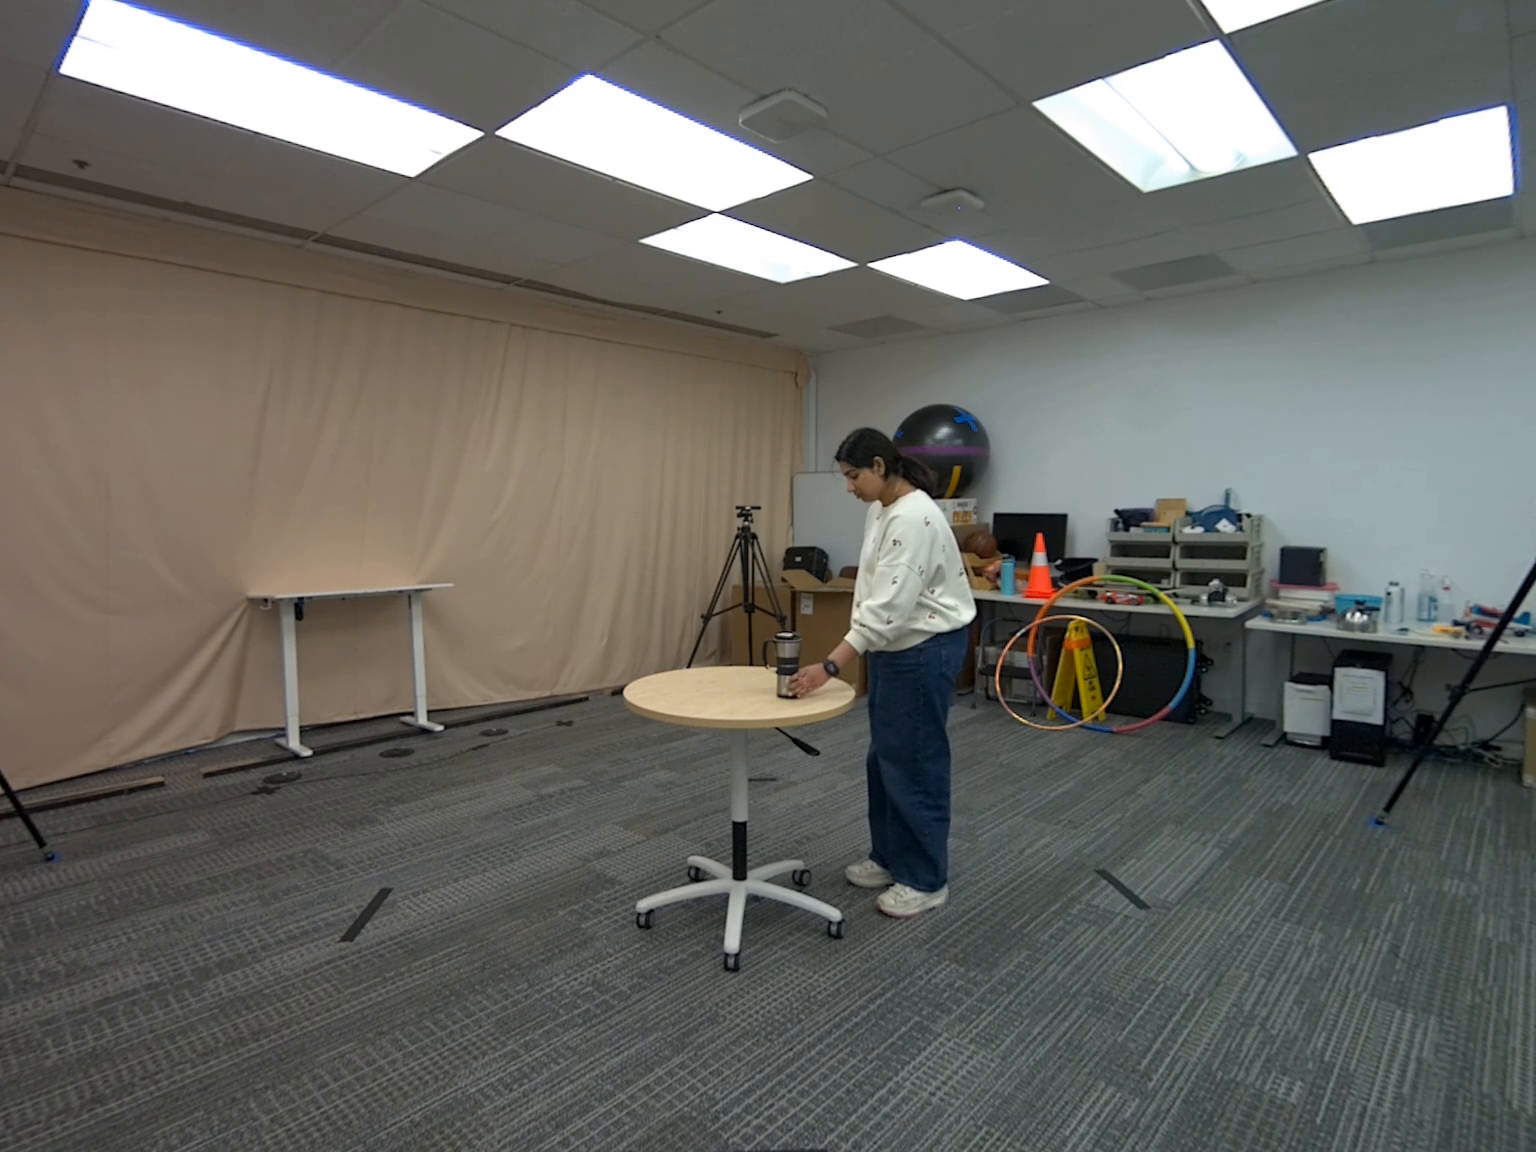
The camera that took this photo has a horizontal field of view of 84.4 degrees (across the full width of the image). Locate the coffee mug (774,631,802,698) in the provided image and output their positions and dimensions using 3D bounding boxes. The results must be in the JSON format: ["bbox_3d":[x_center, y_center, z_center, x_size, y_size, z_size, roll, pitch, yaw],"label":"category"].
[{"bbox_3d":[0.053,0.289,2.703,0.126,0.202,0.085,7,9,32],"label":"coffee mug"}]
